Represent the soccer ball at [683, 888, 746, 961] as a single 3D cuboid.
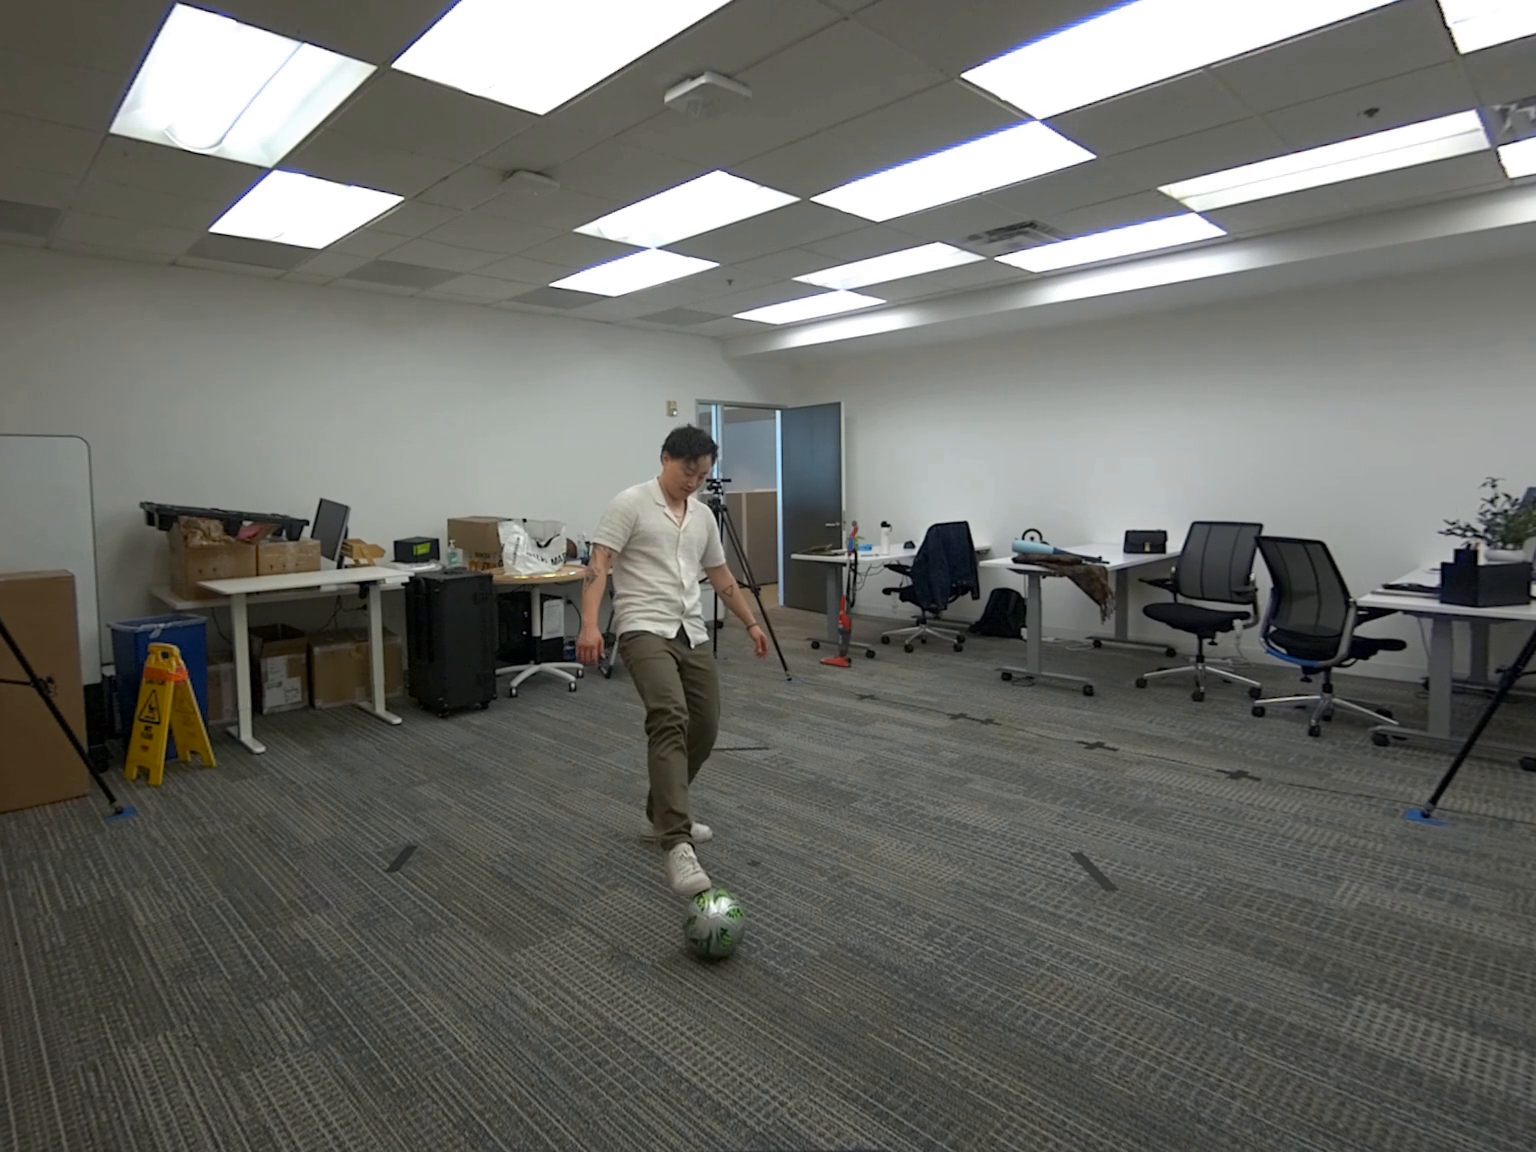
[{"bbox_3d":[-0.160,1.027,2.528,0.187,0.187,0.188,-1,5,-2],"label":"soccer ball"}]
